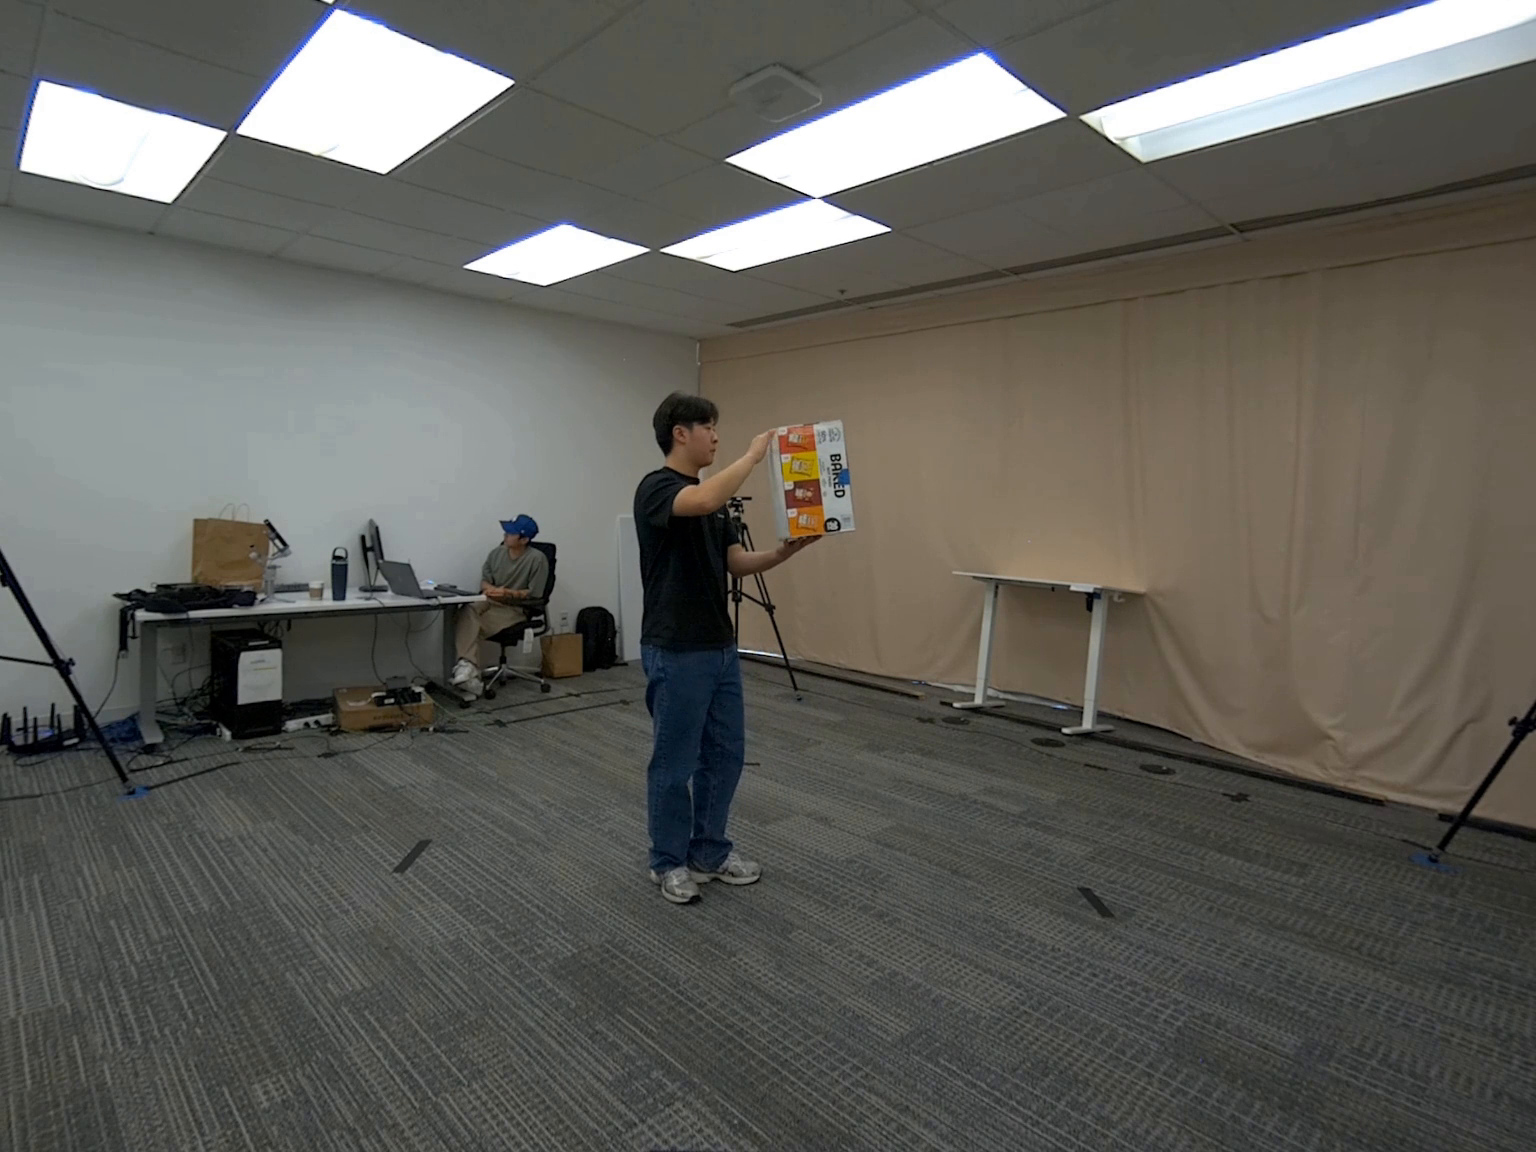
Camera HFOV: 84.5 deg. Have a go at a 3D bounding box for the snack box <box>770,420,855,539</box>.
[{"bbox_3d":[0.120,-0.296,2.755,0.205,0.340,0.406,-6,0,-5],"label":"snack box"}]
